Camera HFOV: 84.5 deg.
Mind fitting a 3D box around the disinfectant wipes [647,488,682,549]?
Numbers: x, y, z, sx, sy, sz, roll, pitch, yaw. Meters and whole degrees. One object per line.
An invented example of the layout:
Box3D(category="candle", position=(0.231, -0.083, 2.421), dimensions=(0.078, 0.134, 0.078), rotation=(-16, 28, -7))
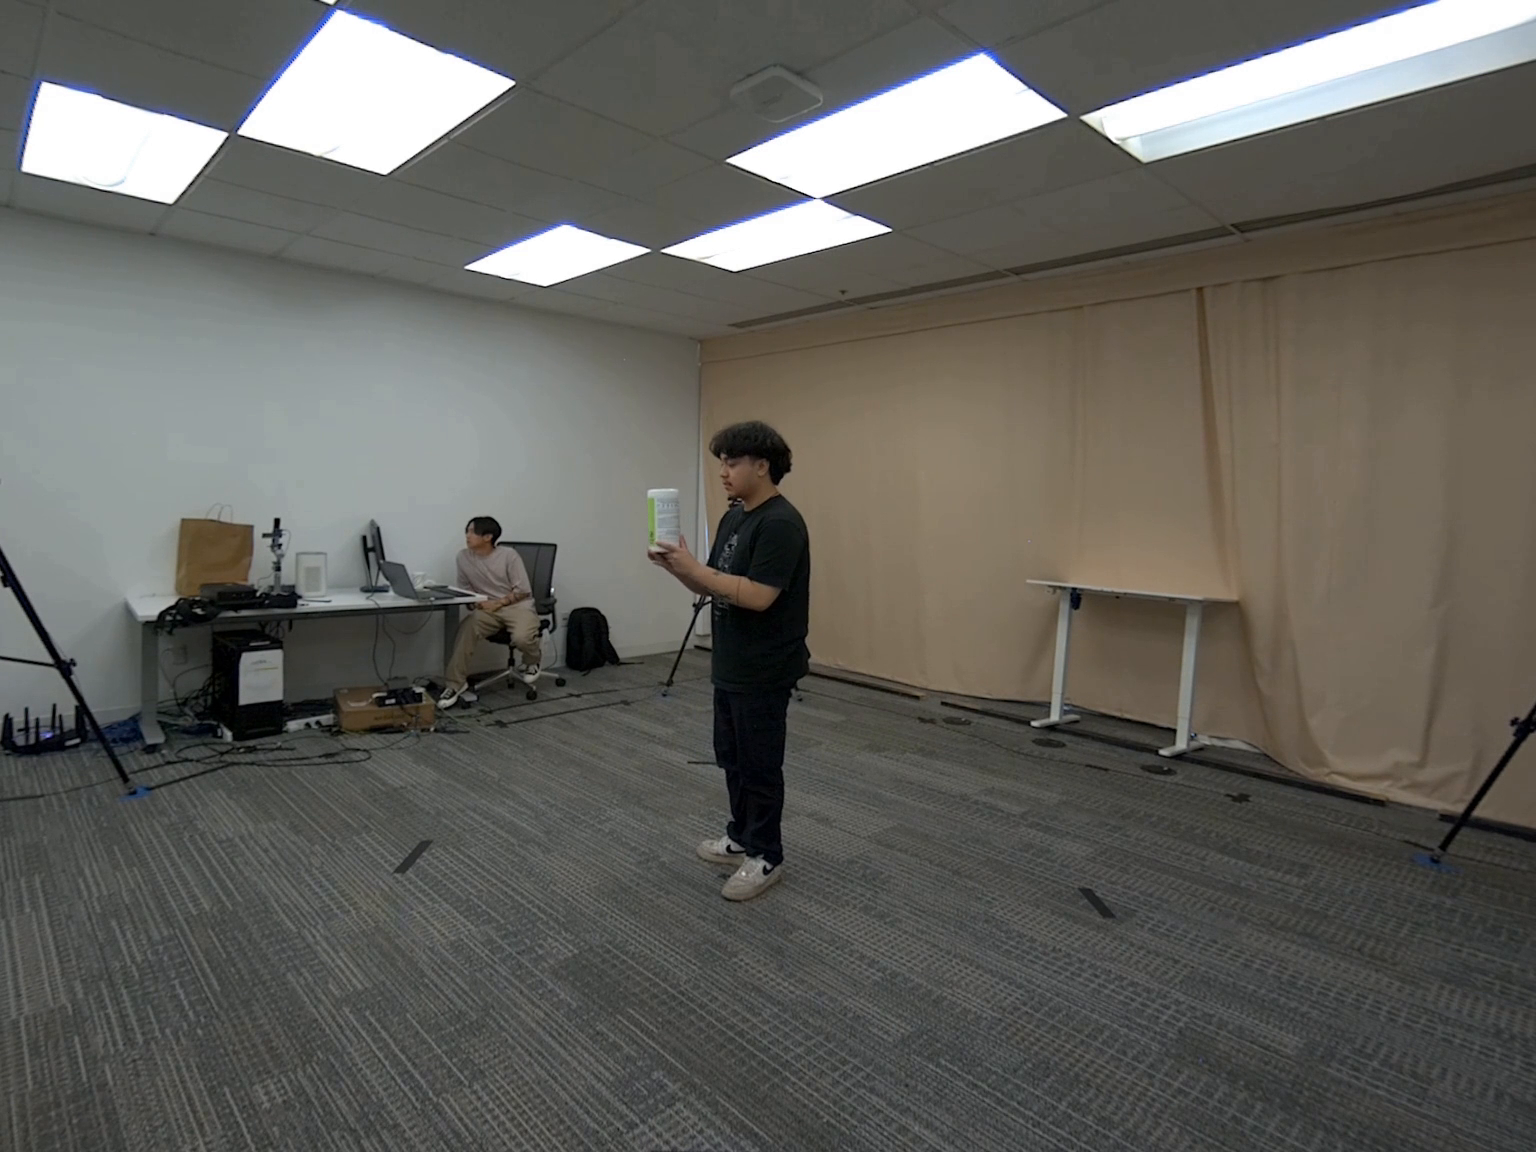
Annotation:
Box3D(category="disinfectant wipes", position=(-0.364, -0.190, 2.897), dimensions=(0.118, 0.217, 0.118), rotation=(-2, 1, -1))
